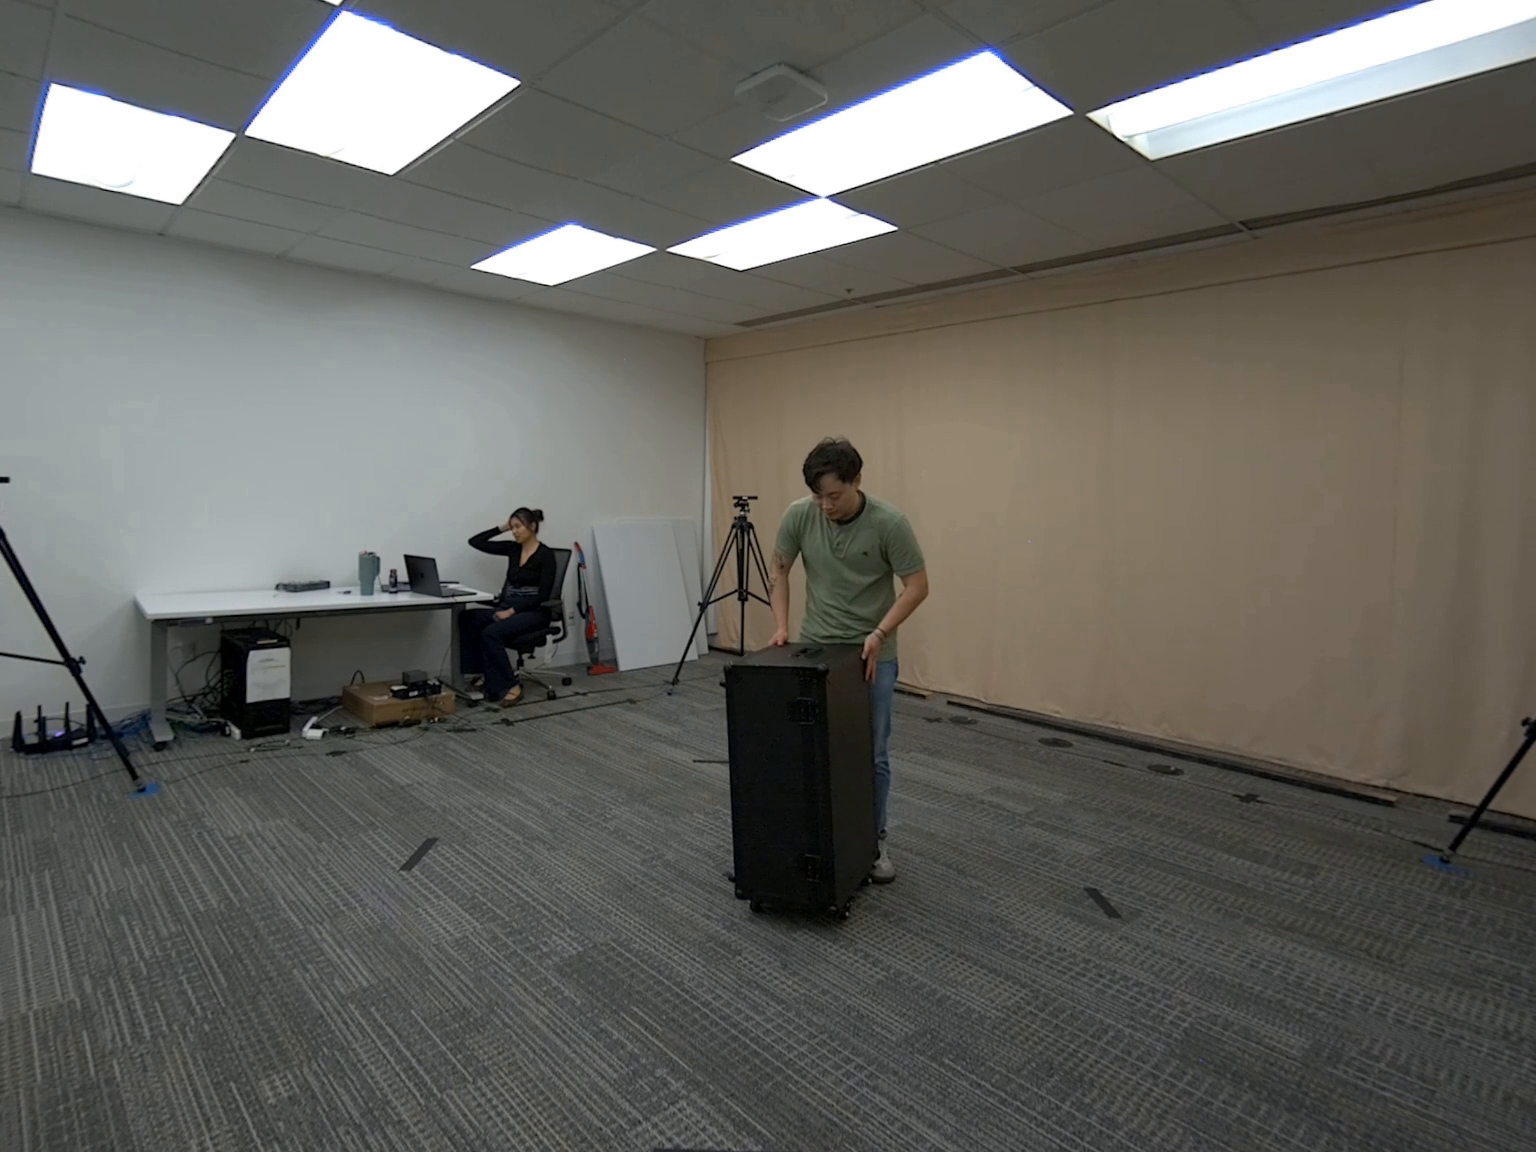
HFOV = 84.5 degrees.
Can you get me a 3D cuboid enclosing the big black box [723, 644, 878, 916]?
[{"bbox_3d":[0.108,0.697,2.894,0.403,0.860,0.512,-3,2,26],"label":"big black box"}]
